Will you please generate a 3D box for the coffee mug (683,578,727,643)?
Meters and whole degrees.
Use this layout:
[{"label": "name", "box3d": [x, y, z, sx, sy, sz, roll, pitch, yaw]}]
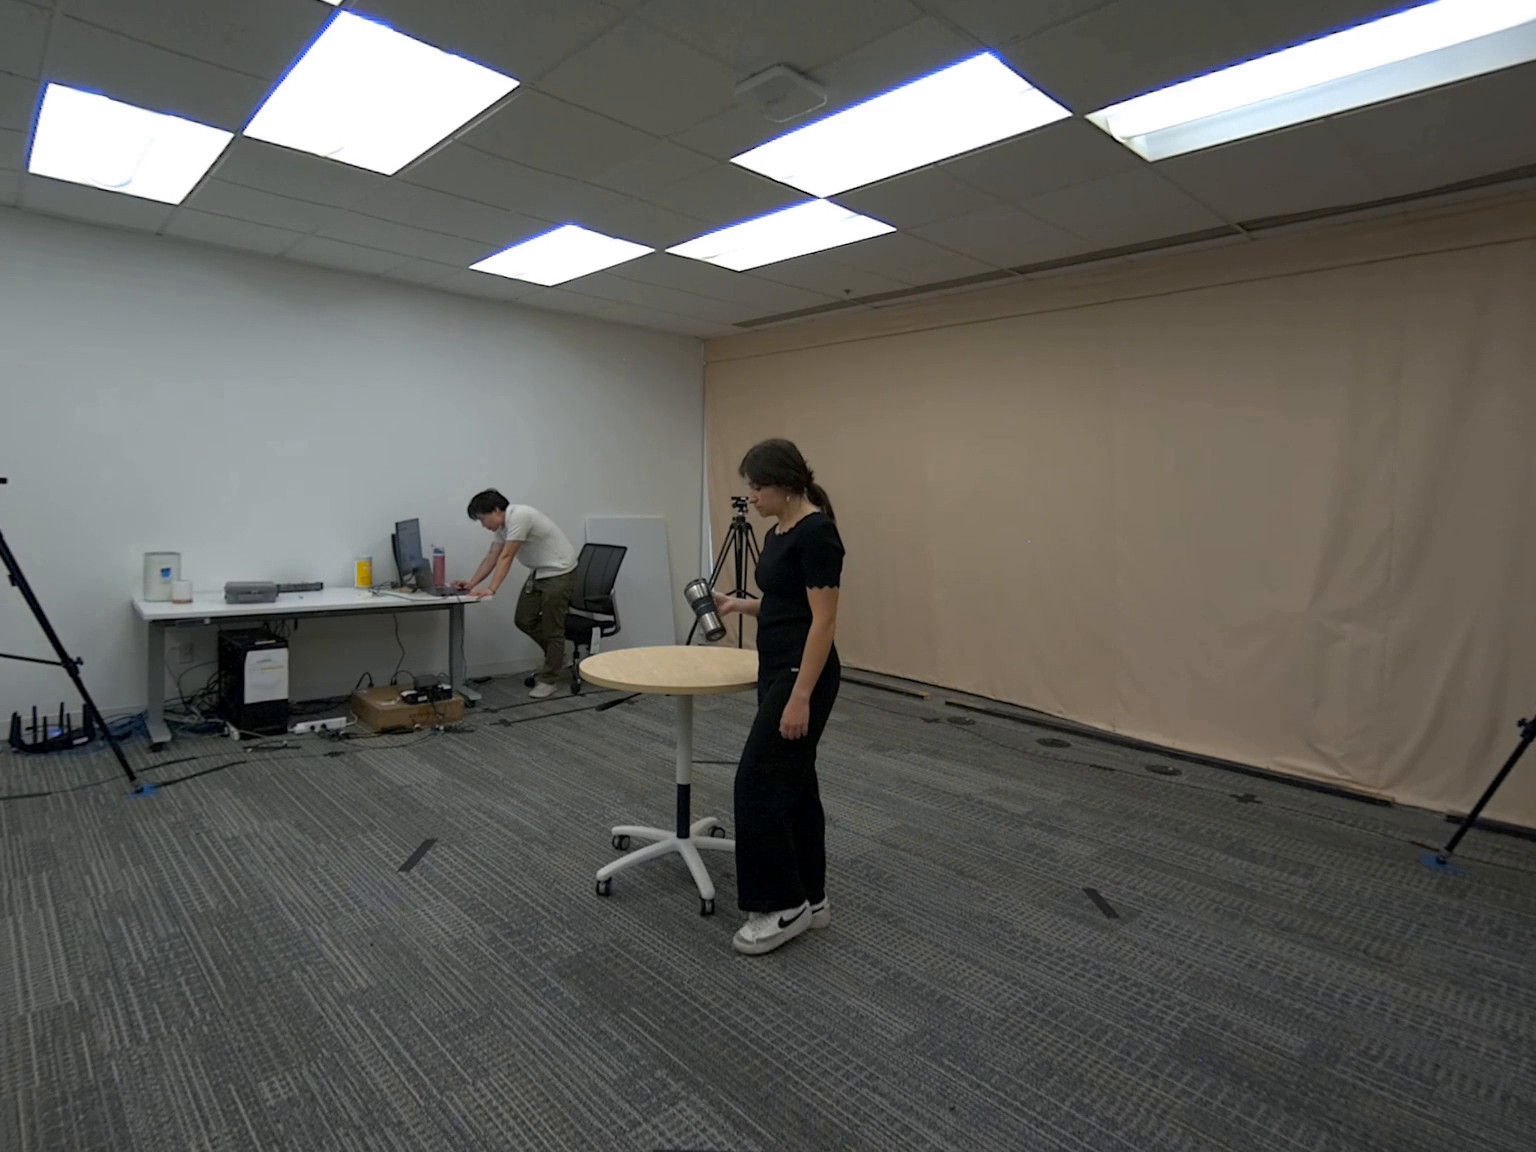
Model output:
[{"label": "coffee mug", "box3d": [-0.205, 0.122, 2.747, 0.087, 0.208, 0.119, -26, -29, -9]}]
